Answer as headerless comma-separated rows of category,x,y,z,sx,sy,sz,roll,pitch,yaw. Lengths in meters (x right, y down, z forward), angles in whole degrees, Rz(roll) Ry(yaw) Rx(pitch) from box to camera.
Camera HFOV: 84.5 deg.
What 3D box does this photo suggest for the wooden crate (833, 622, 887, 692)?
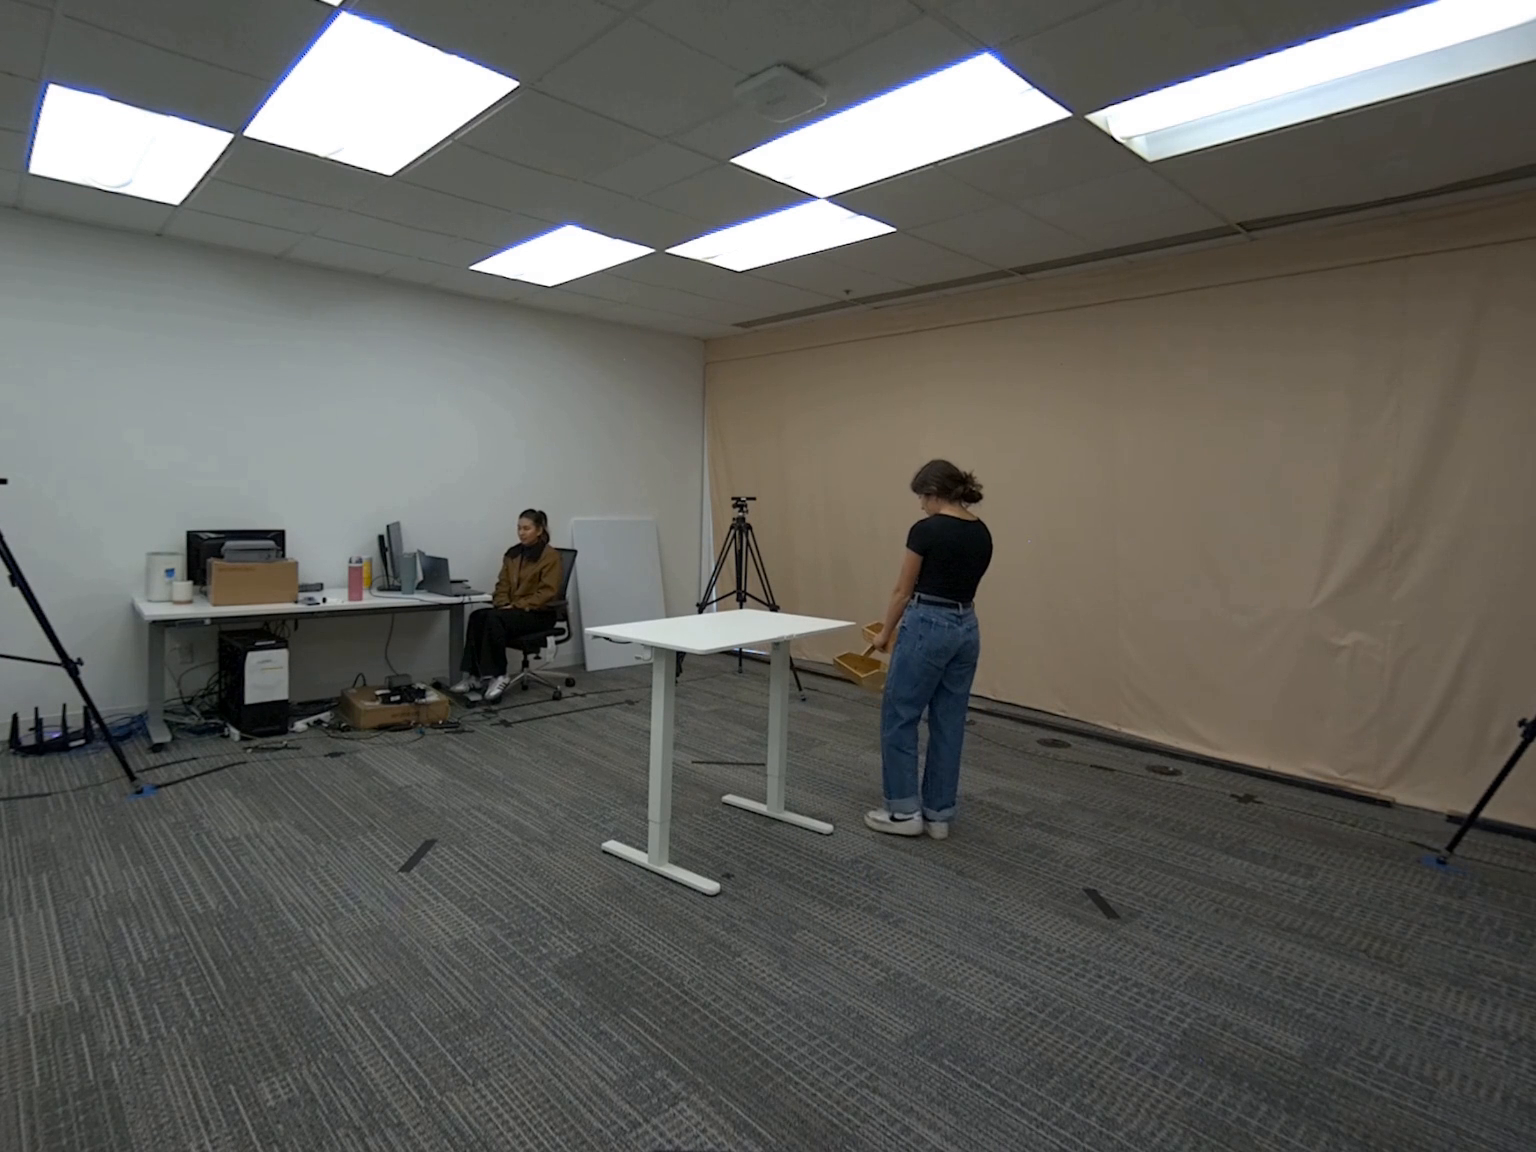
wooden crate,0.504,0.358,3.780,0.296,0.273,0.331,16,5,-20
